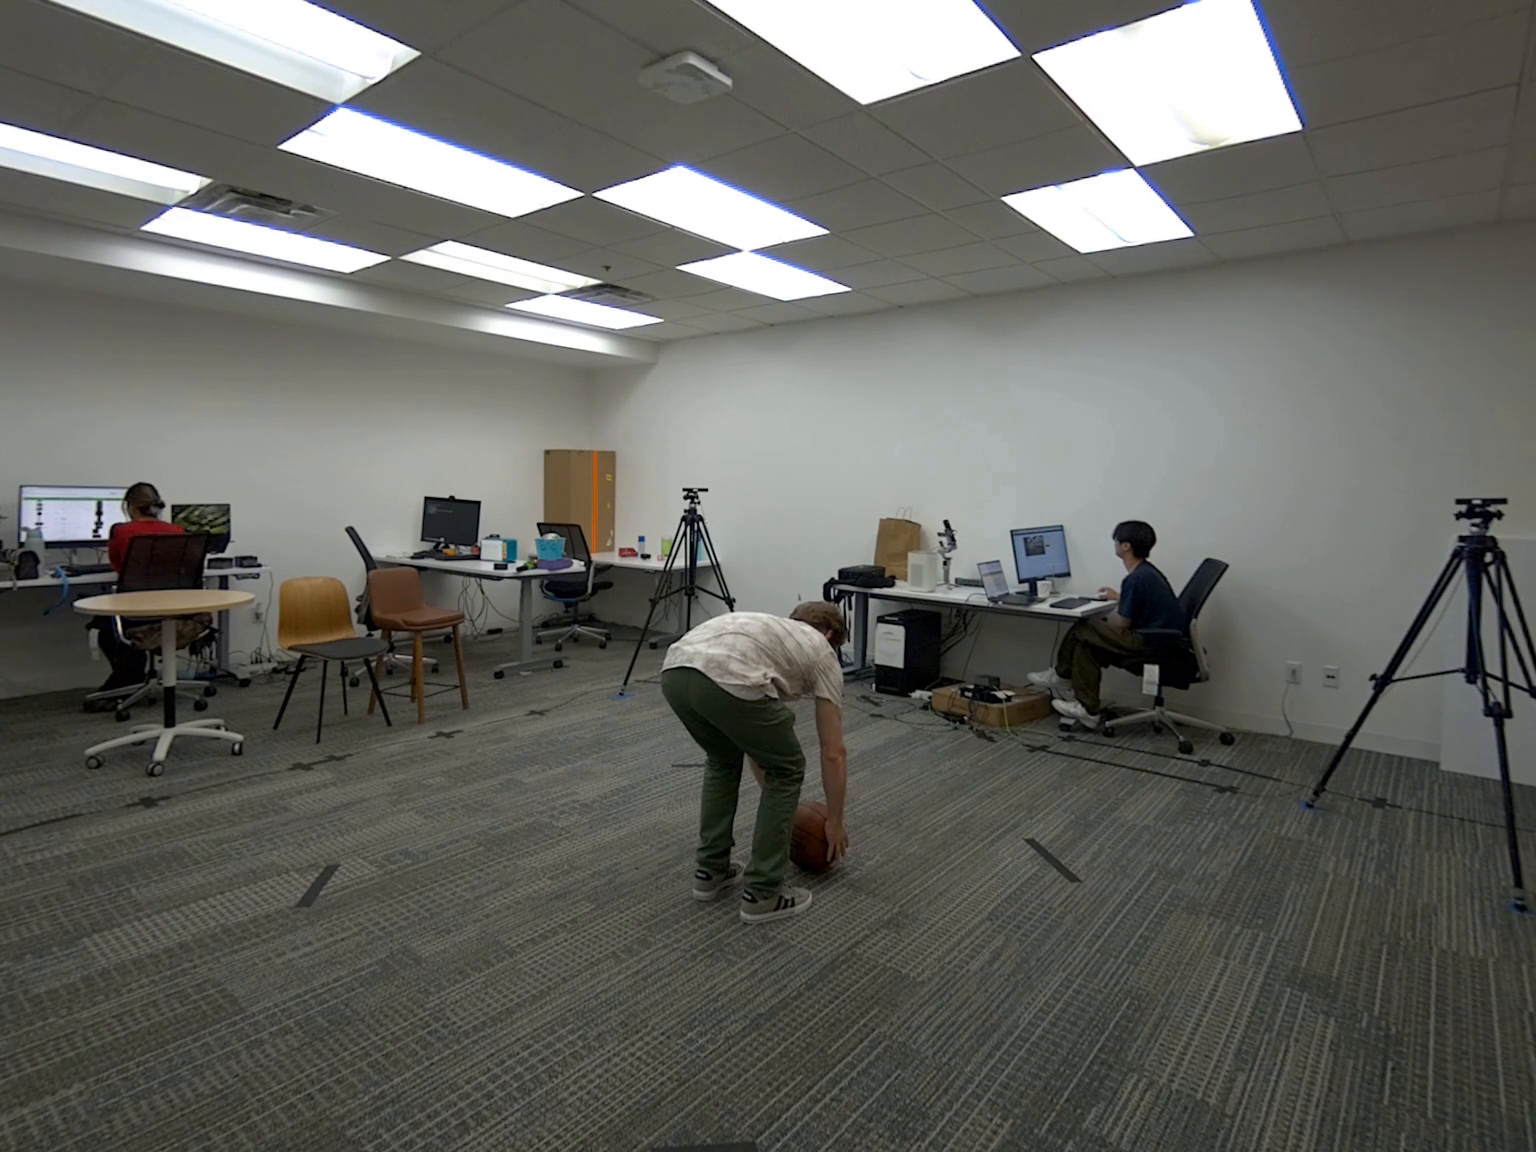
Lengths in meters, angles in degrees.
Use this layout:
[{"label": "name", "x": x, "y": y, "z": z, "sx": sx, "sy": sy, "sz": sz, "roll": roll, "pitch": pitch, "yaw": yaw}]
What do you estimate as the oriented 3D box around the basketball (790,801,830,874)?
[{"label": "basketball", "x": 0.152, "y": 0.946, "z": 3.143, "sx": 0.235, "sy": 0.235, "sz": 0.237, "roll": 1, "pitch": 4, "yaw": -2}]
